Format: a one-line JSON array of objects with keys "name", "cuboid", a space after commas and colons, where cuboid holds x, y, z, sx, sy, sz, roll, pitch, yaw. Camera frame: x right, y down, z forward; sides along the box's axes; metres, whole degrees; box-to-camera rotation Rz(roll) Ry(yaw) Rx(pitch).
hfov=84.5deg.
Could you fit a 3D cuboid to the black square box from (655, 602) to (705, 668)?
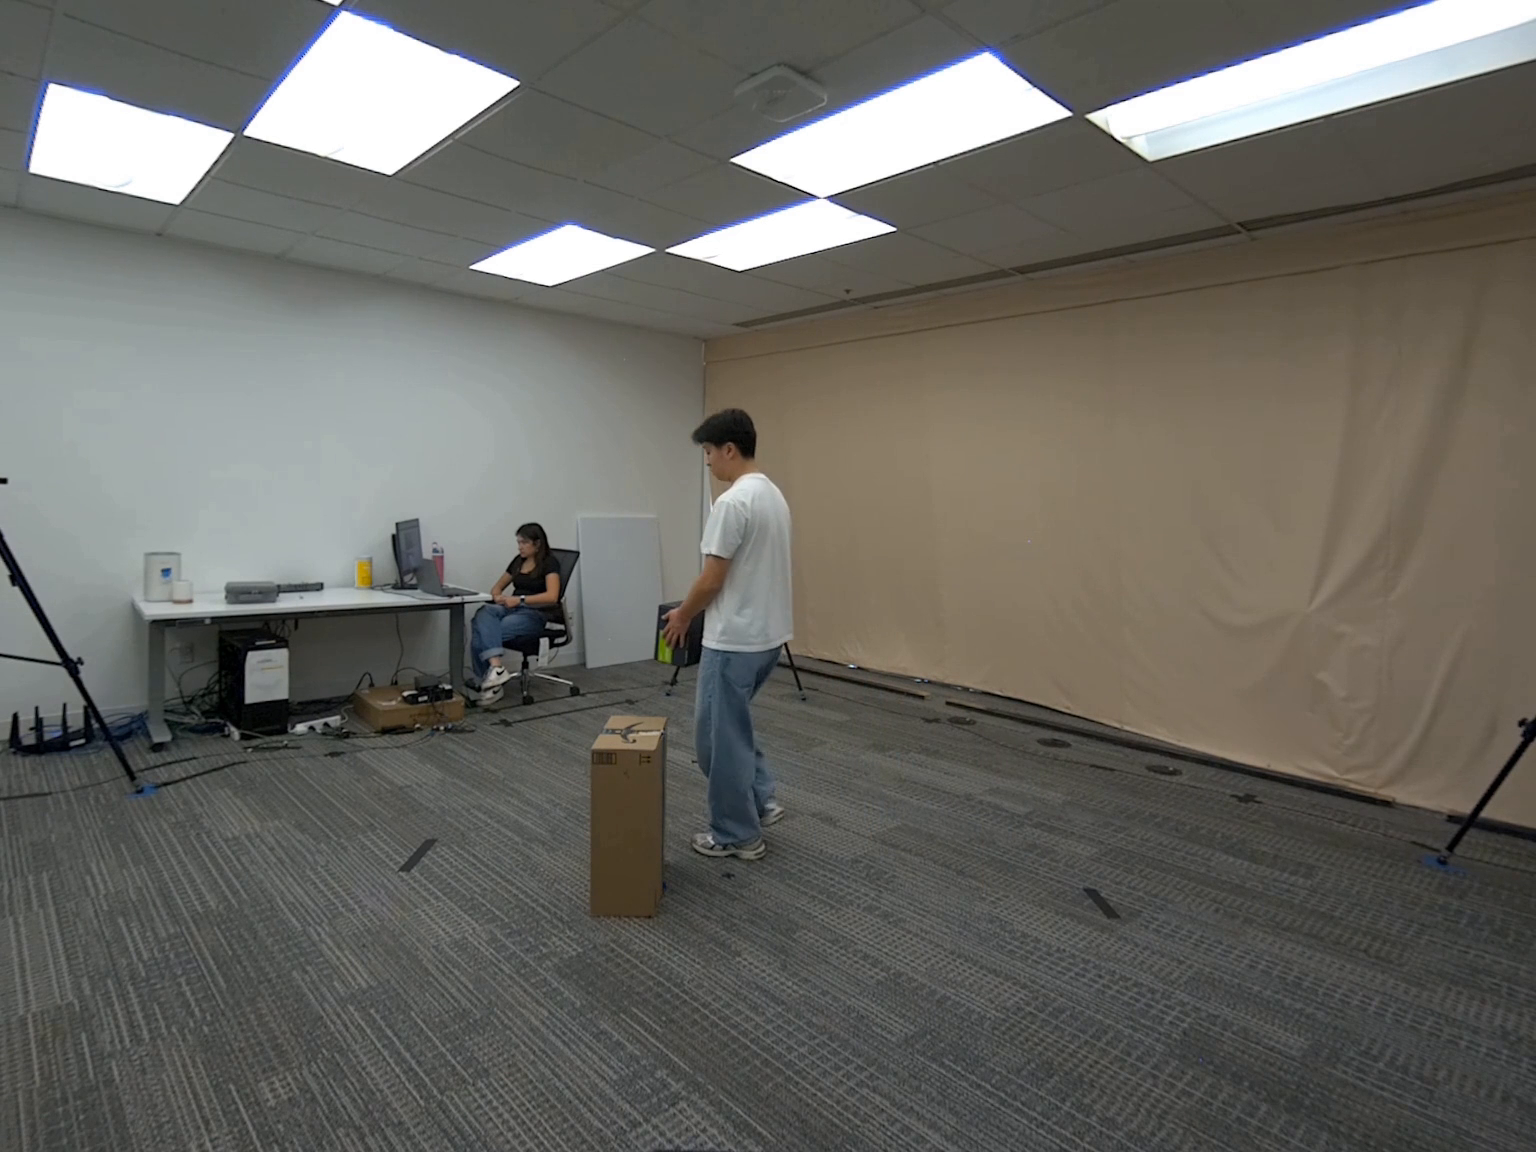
[{"name": "black square box", "cuboid": [-0.335, 0.233, 3.429, 0.159, 0.227, 0.213, 8, 9, 25]}]
